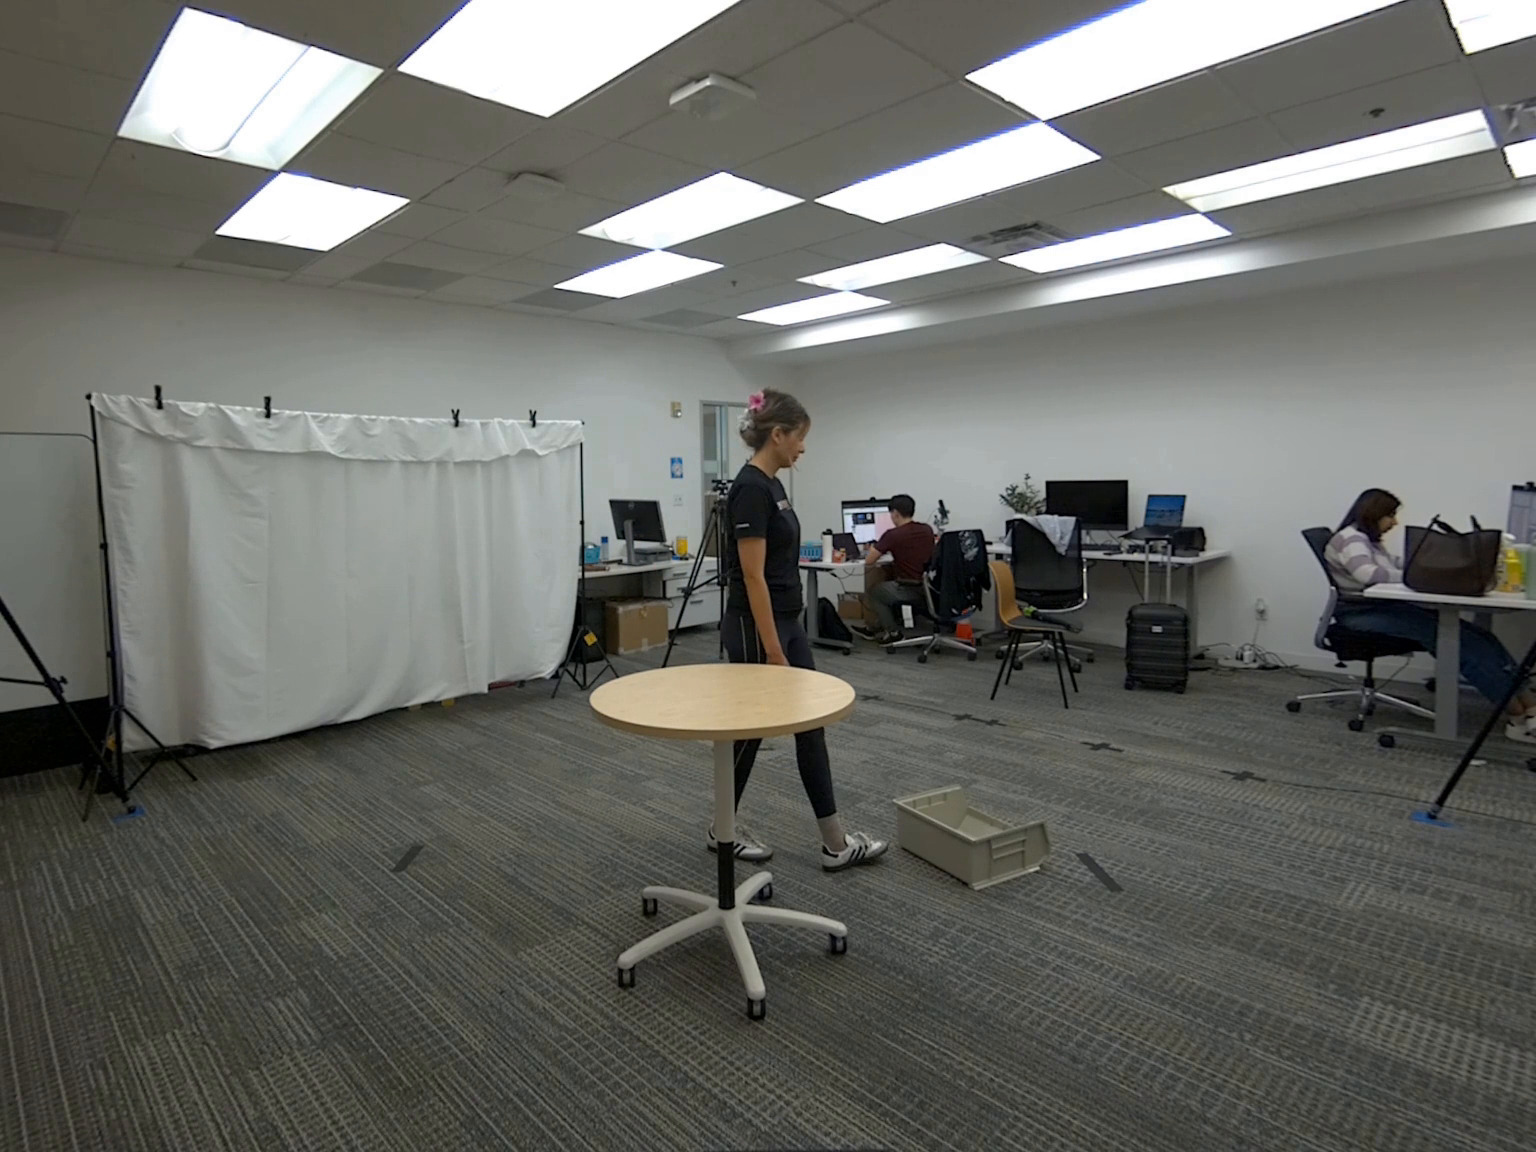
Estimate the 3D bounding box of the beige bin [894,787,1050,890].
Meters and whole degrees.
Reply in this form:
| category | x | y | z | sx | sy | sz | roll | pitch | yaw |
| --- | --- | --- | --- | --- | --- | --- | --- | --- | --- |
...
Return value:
| category | x | y | z | sx | sy | sz | roll | pitch | yaw |
| --- | --- | --- | --- | --- | --- | --- | --- | --- | --- |
| beige bin | 0.743 | 0.945 | 3.131 | 0.369 | 0.188 | 0.434 | -5 | 7 | -30 |
